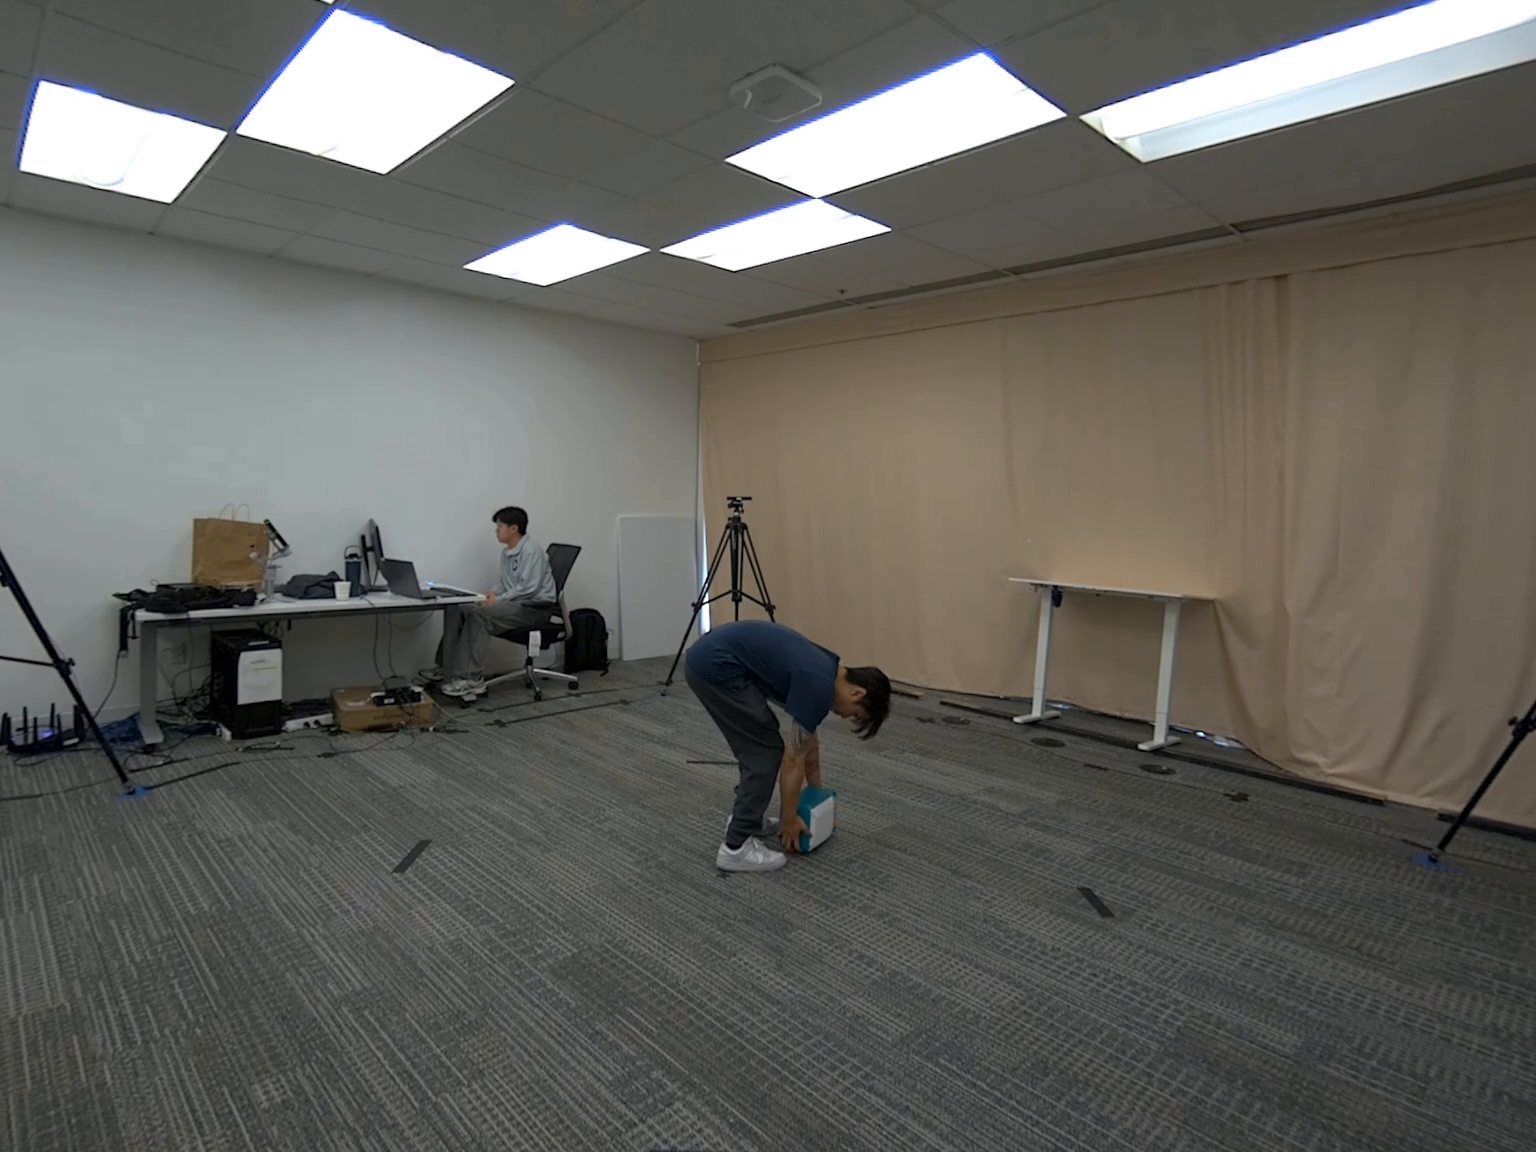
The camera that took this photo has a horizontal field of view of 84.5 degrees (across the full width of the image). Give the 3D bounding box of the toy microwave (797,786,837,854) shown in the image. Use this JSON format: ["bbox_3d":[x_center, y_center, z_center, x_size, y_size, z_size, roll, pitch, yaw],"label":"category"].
[{"bbox_3d":[0.164,0.979,3.408,0.155,0.184,0.281,3,4,29],"label":"toy microwave"}]
